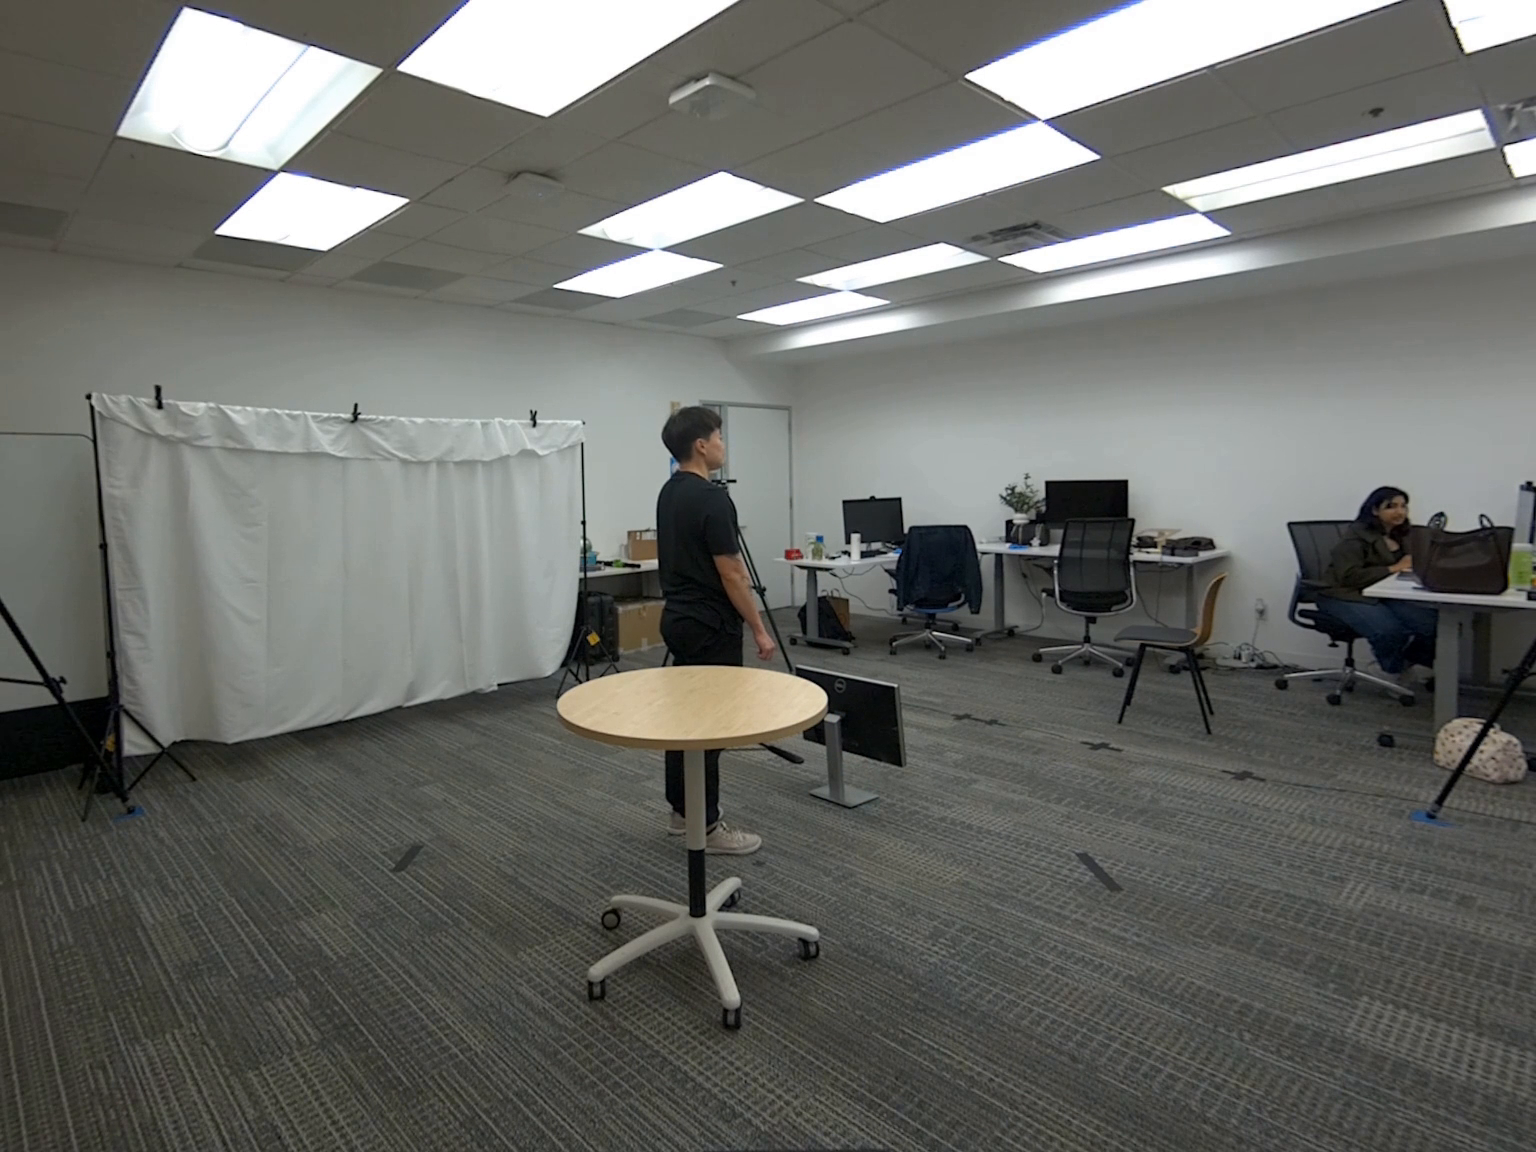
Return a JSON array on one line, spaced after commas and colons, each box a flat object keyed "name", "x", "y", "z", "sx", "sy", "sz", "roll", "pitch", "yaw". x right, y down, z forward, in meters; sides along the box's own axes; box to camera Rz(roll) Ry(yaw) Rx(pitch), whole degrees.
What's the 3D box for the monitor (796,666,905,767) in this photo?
[{"name": "monitor", "x": 0.332, "y": 0.706, "z": 3.753, "sx": 0.556, "sy": 0.522, "sz": 0.182, "roll": 4, "pitch": 3, "yaw": 43}]
